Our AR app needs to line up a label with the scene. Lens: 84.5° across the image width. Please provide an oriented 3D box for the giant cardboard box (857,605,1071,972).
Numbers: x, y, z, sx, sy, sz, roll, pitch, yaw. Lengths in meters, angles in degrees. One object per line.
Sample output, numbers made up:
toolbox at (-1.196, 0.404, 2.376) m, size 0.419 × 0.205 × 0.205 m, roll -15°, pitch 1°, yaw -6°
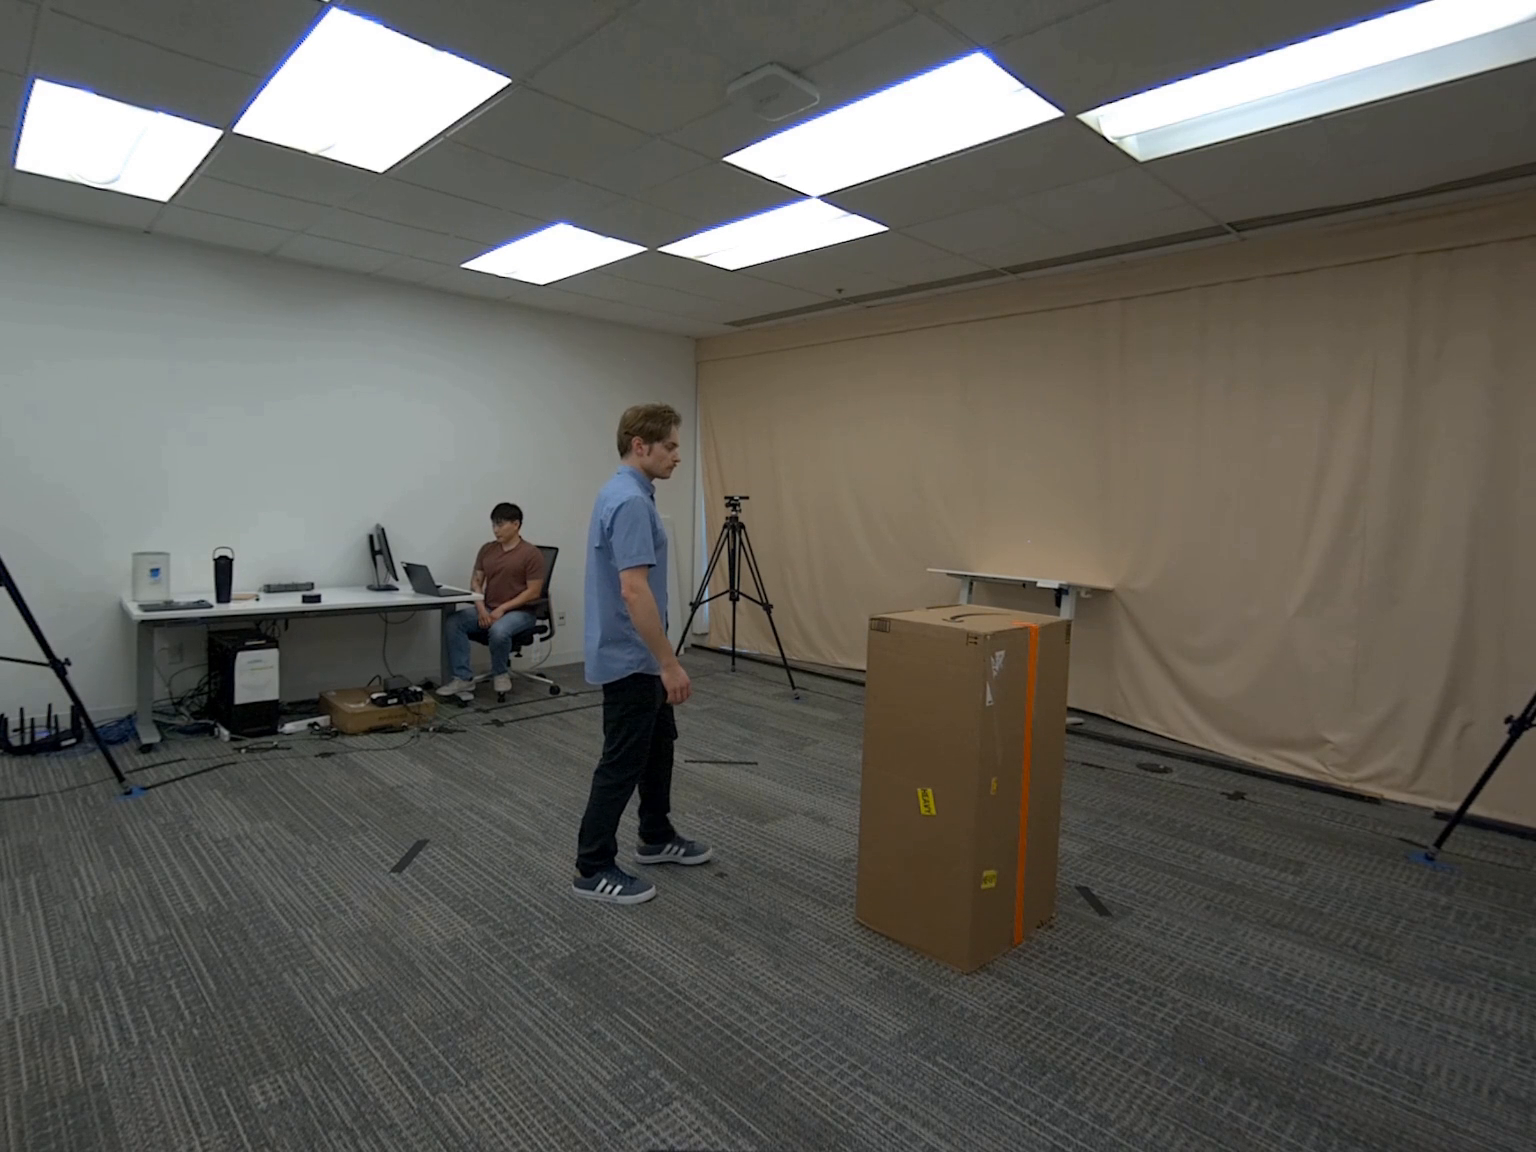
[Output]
giant cardboard box at (0.650, 0.642, 2.801) m, size 0.564 × 1.023 × 0.437 m, roll -1°, pitch 5°, yaw -45°
